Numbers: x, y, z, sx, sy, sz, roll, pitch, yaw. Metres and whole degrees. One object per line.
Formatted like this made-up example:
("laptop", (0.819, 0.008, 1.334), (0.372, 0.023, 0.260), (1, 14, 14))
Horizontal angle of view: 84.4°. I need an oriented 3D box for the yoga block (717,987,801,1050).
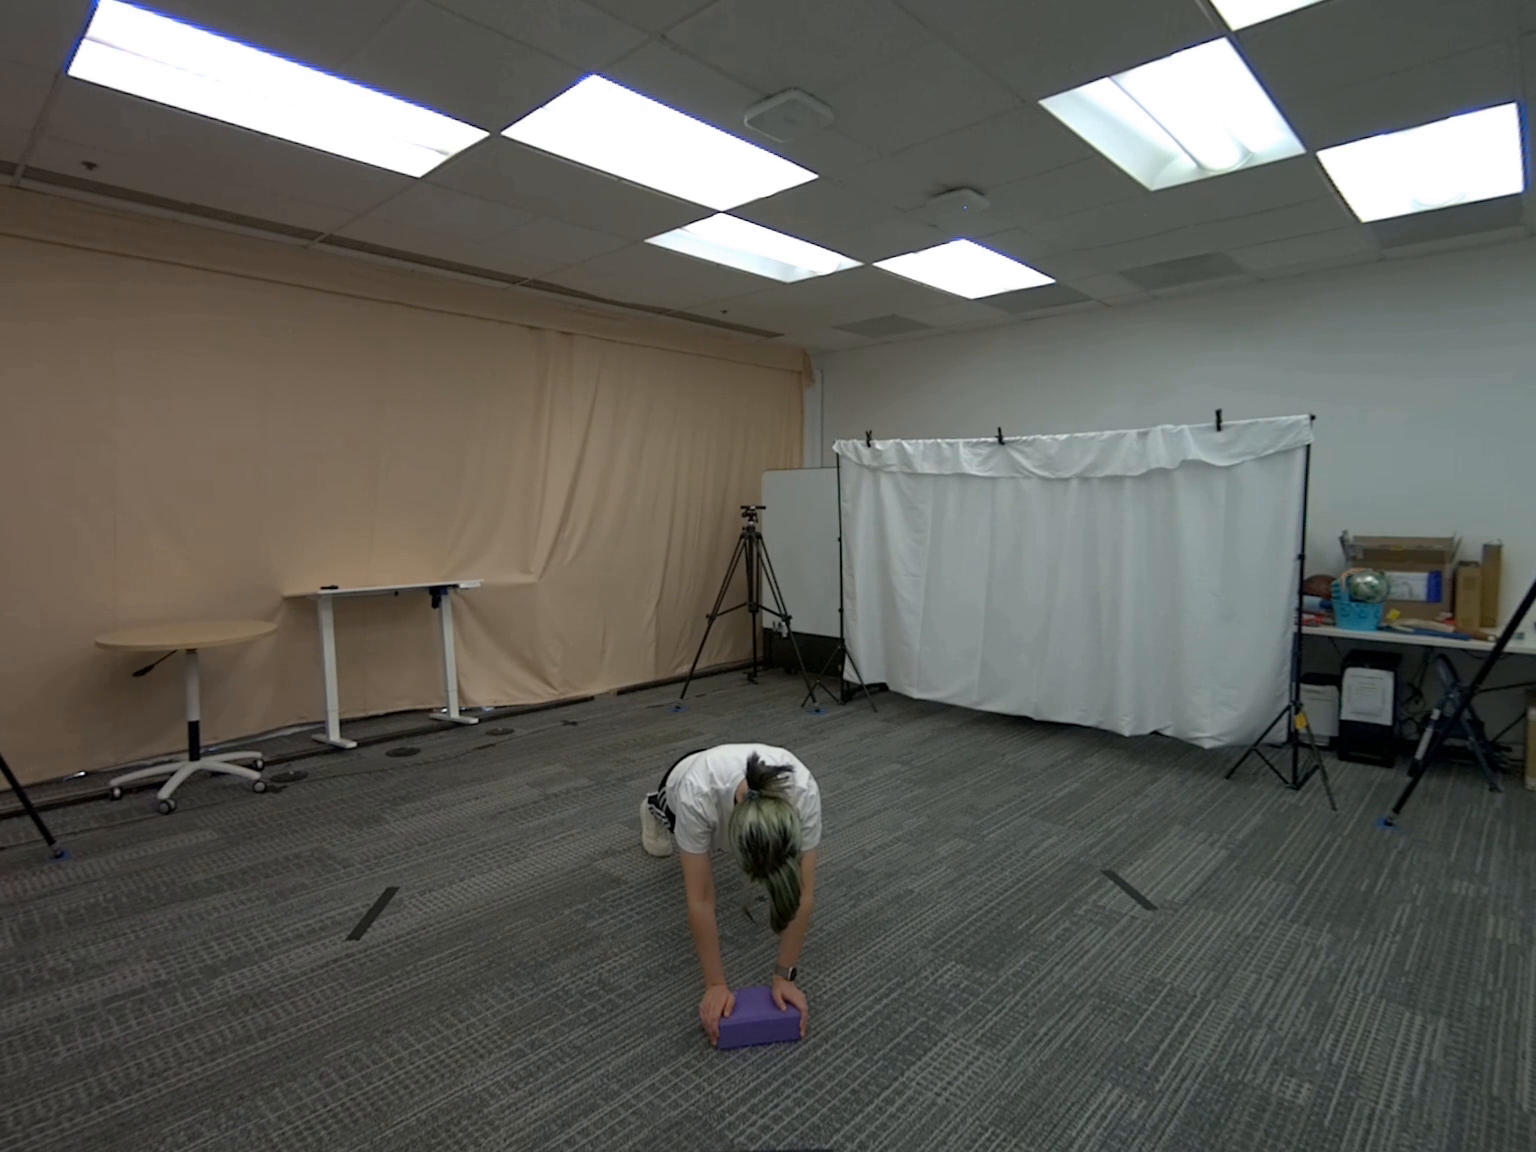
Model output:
("yoga block", (-0.040, 1.168, 2.244), (0.227, 0.076, 0.151), (0, 5, -11))
